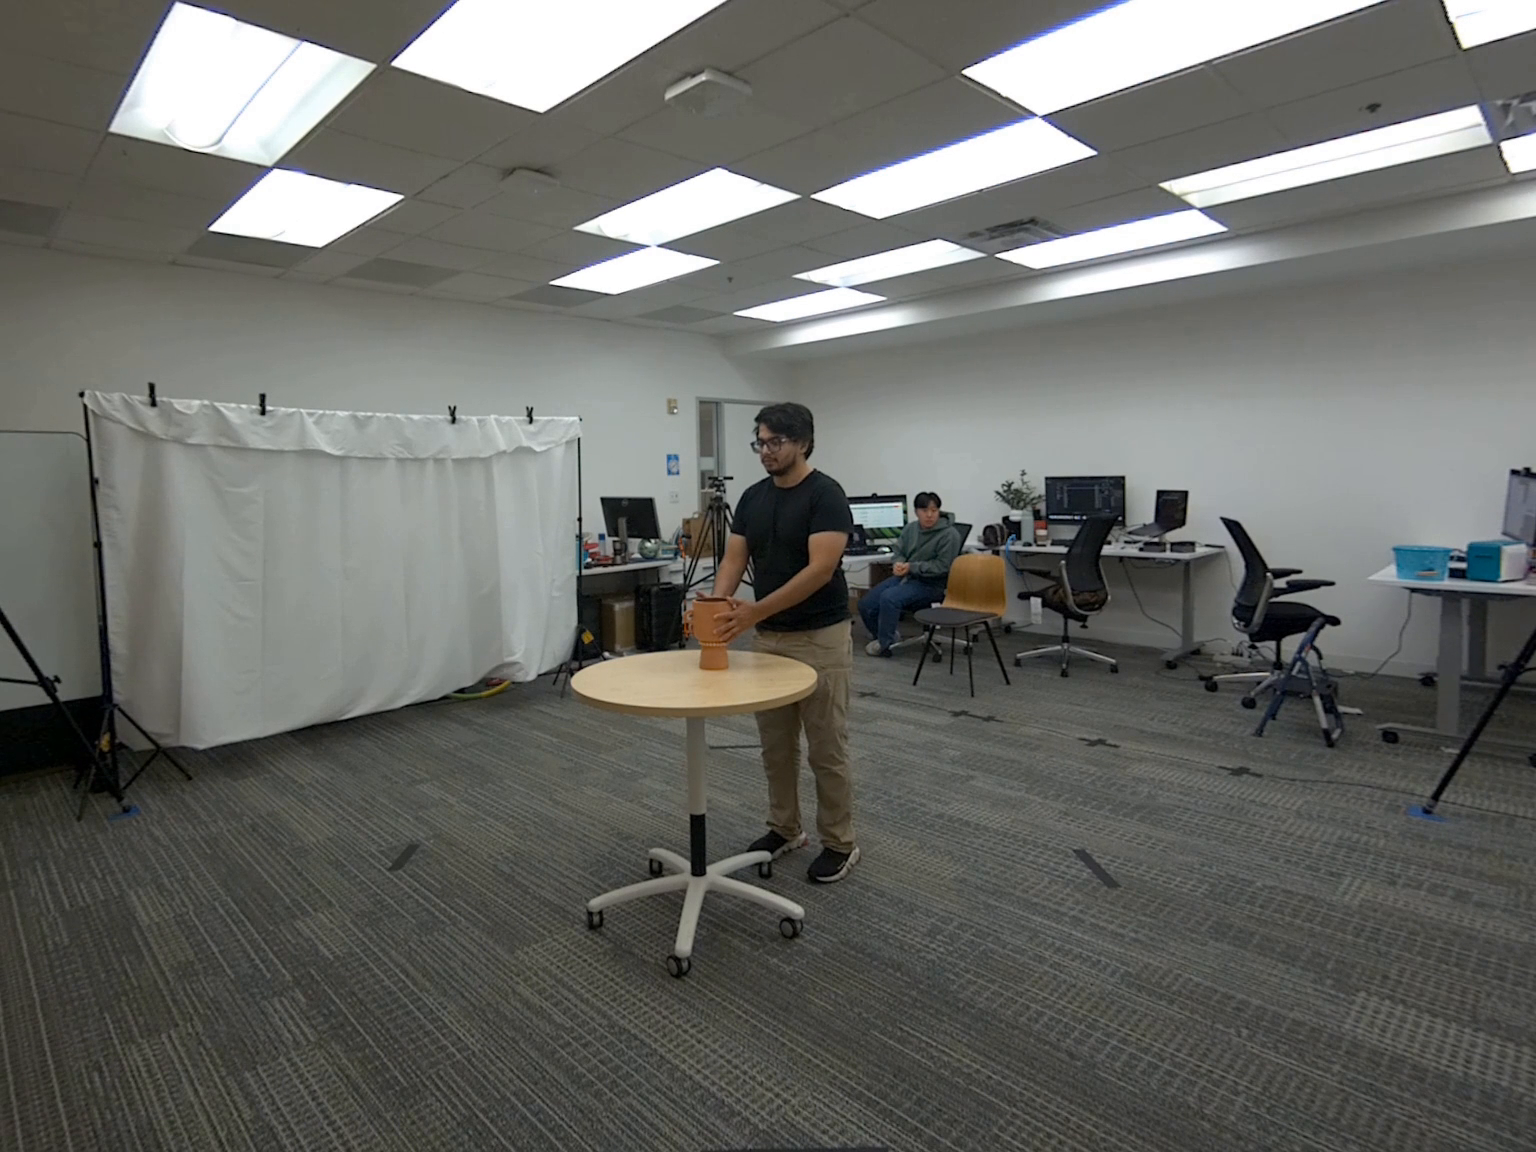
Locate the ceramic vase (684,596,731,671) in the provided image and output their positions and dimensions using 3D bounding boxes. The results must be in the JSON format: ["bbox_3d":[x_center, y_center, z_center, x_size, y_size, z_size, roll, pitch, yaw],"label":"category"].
[{"bbox_3d":[-0.176,0.191,2.773,0.162,0.219,0.132,2,5,21],"label":"ceramic vase"}]
